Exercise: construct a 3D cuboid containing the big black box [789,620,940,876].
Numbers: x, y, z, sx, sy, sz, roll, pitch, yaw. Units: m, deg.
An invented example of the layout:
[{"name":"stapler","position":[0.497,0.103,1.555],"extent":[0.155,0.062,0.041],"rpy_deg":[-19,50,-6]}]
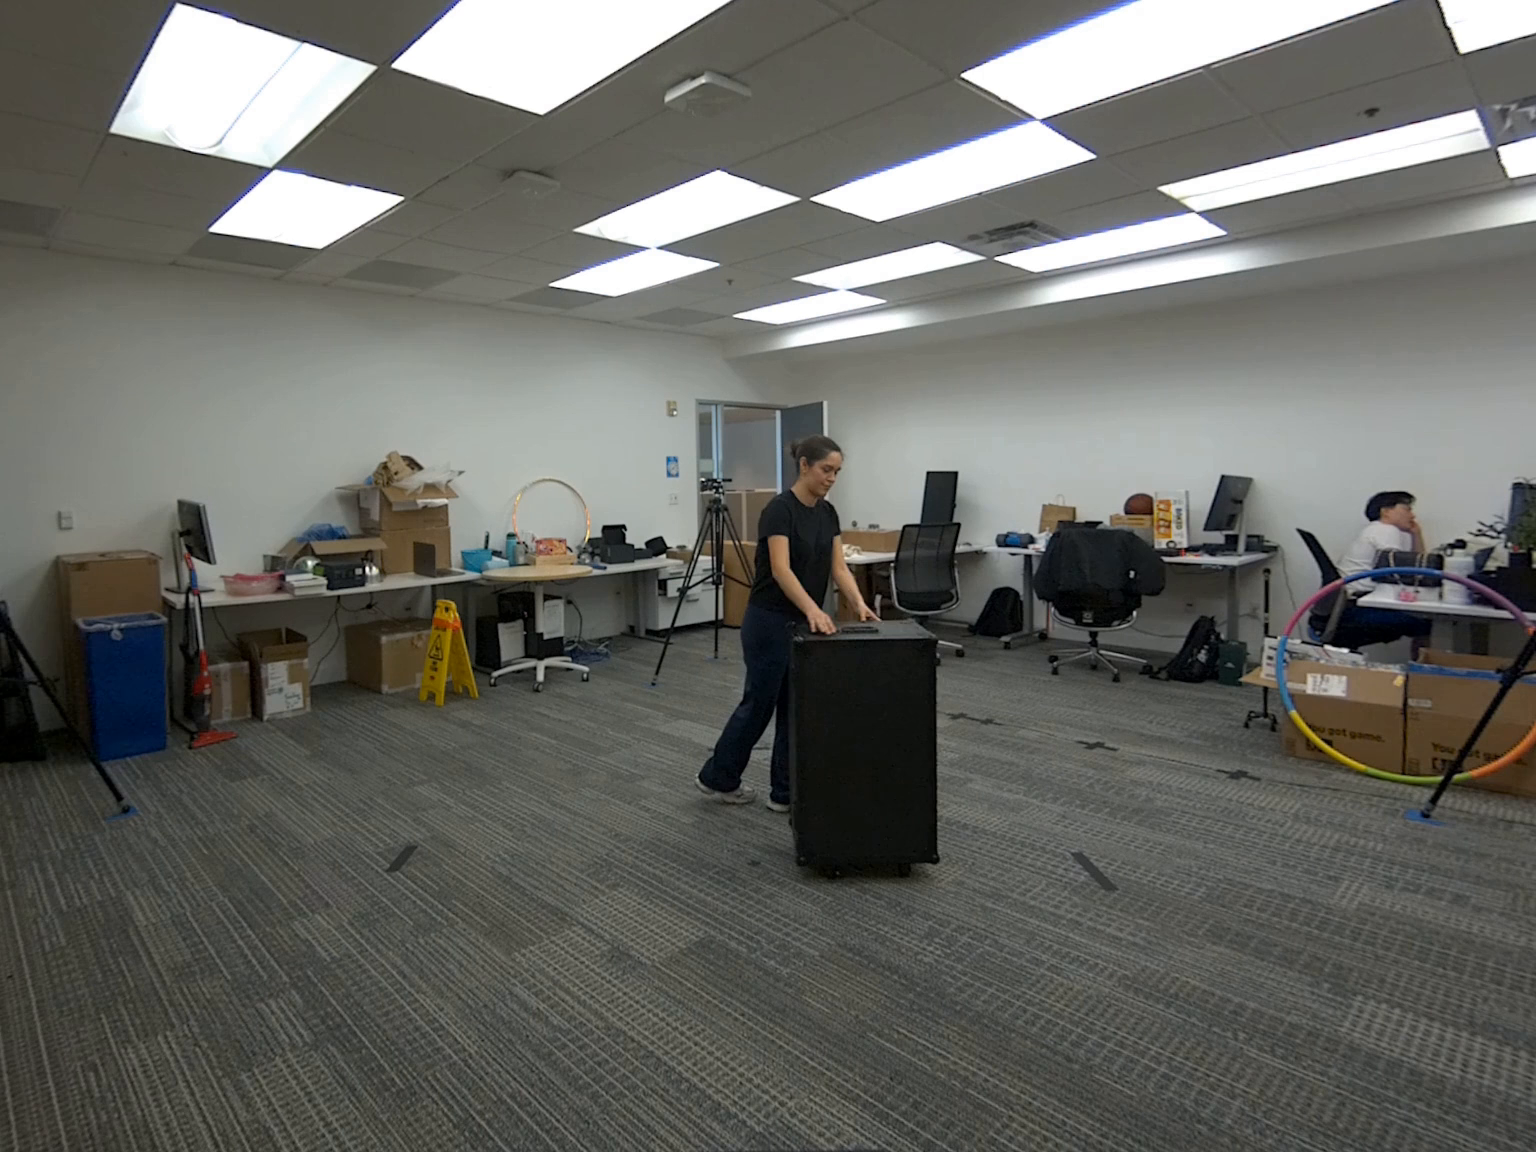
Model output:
[{"name":"big black box","position":[0.327,0.615,3.101],"extent":[0.521,0.858,0.397],"rpy_deg":[-2,4,0]}]
